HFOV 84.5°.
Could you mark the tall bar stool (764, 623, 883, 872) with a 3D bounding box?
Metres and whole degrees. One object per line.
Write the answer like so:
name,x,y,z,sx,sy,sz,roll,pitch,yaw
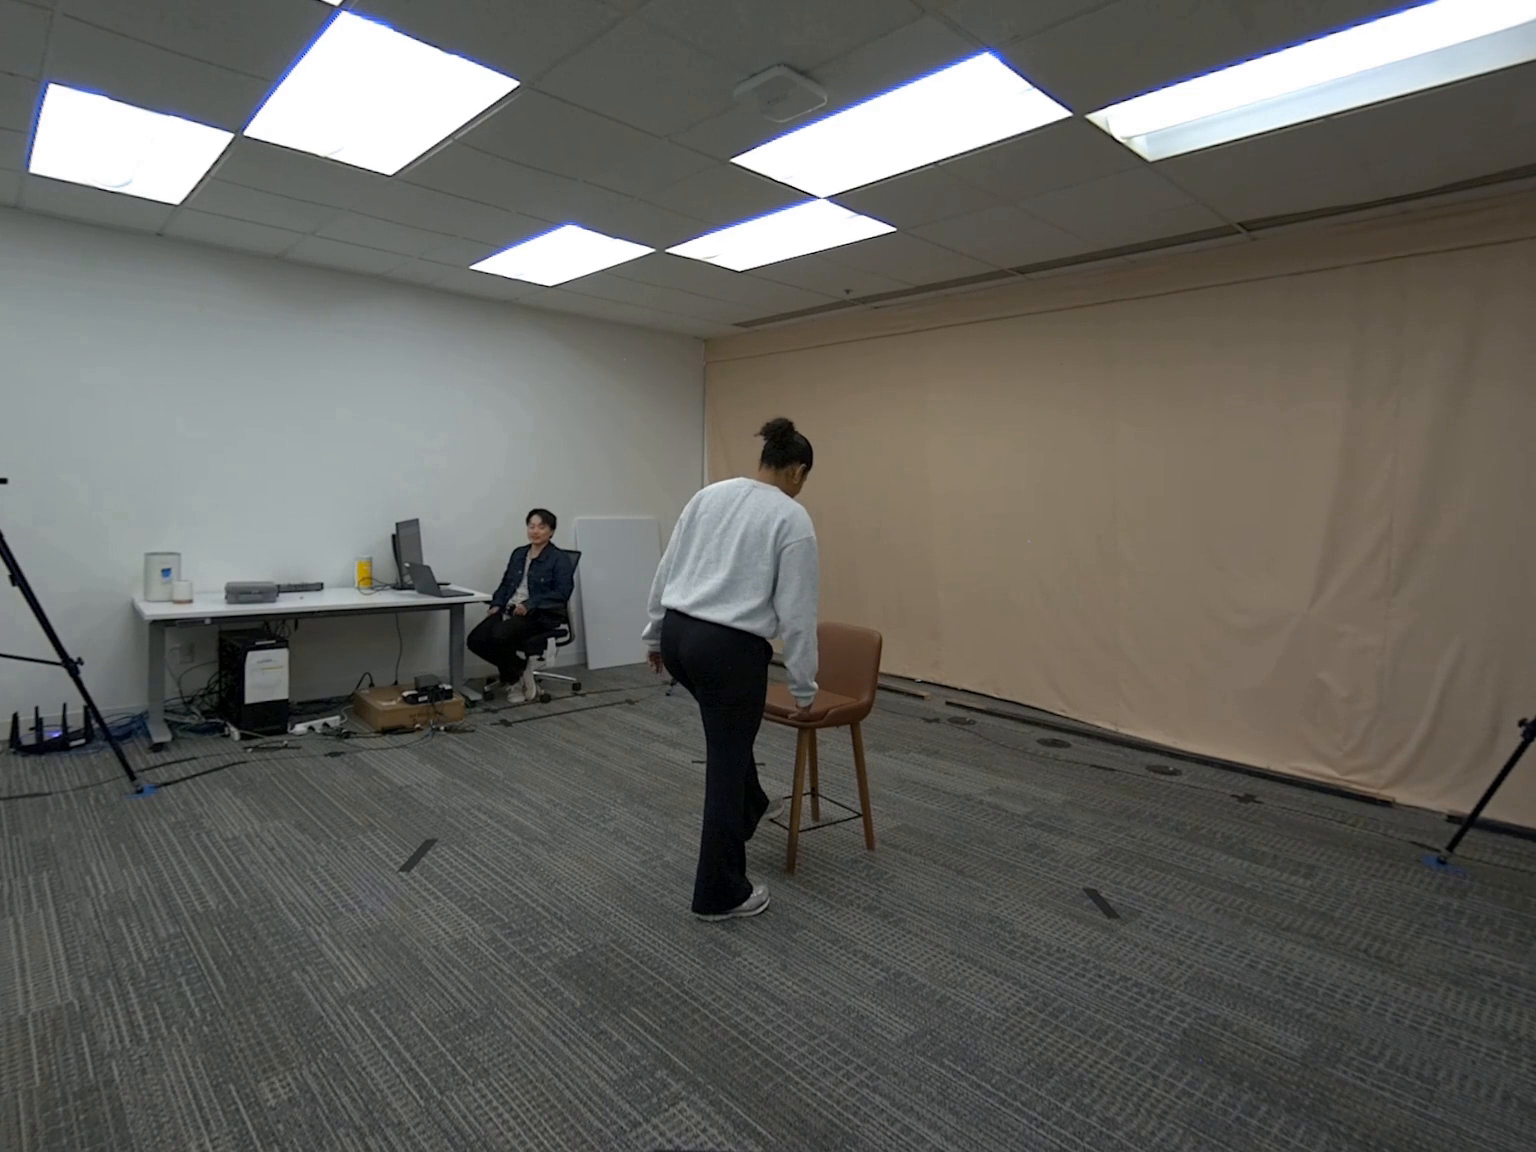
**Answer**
tall bar stool,0.152,0.650,3.390,0.457,0.889,0.467,2,2,-35
